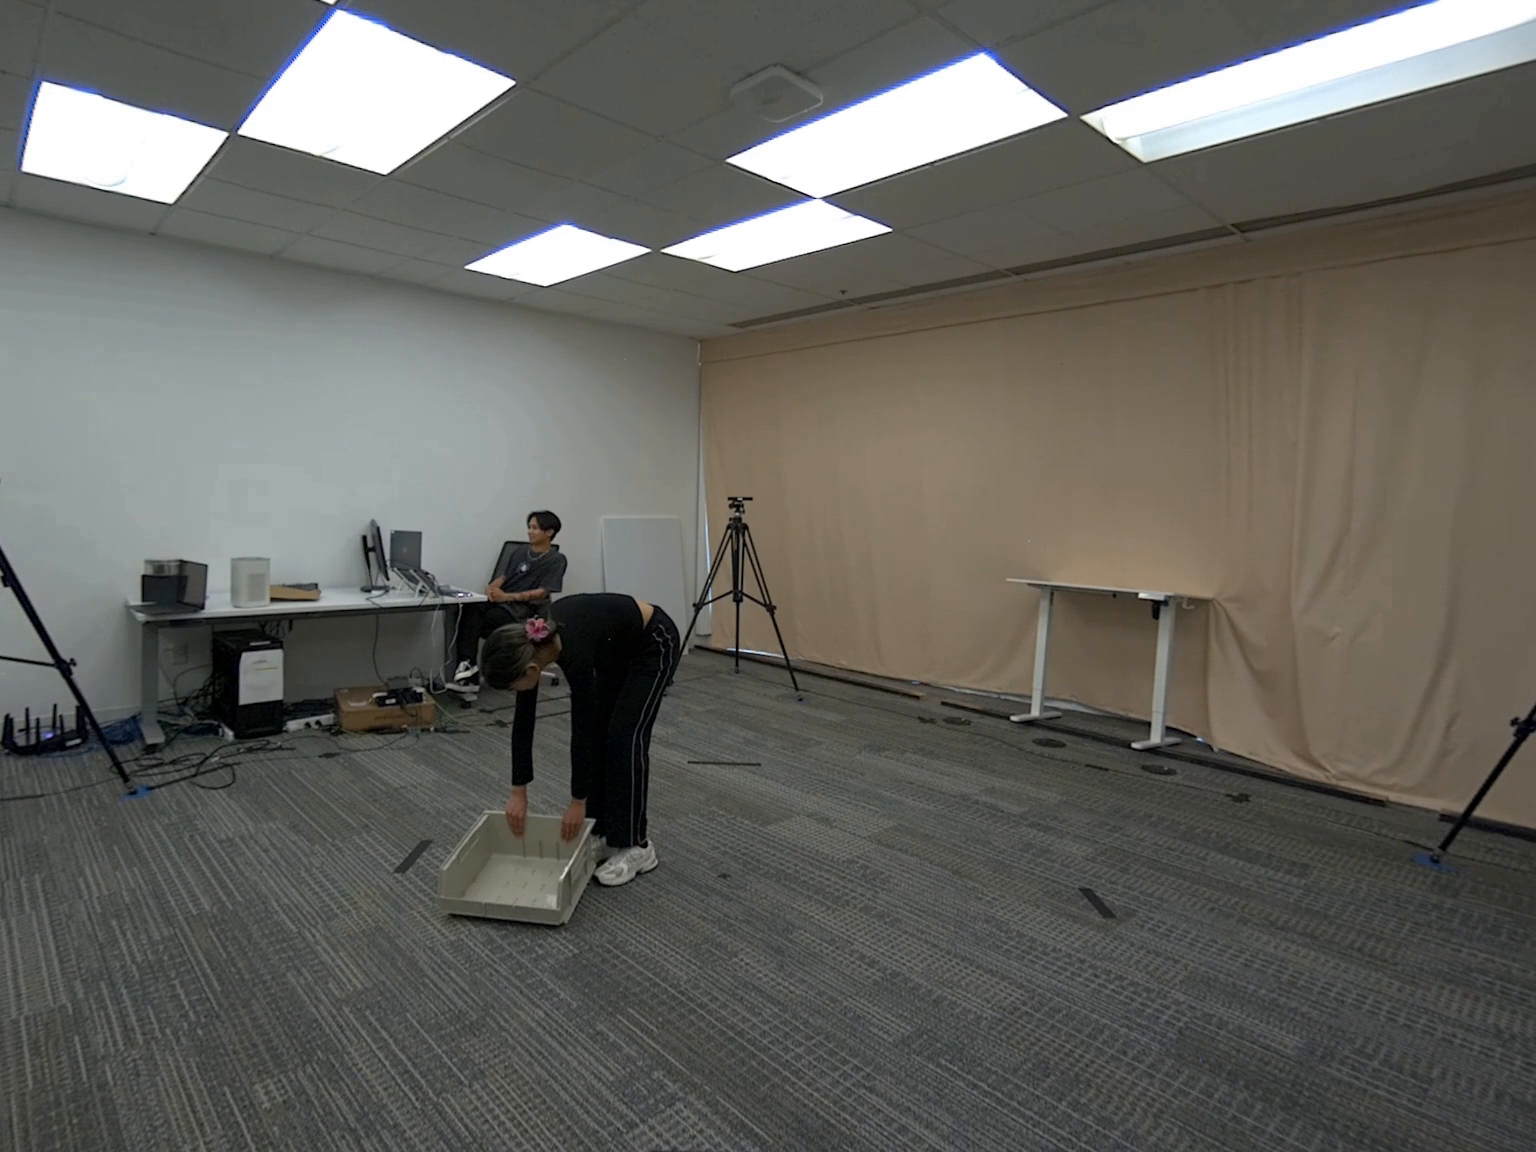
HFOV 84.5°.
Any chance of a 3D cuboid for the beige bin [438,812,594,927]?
[{"bbox_3d":[-0.850,1.011,2.868,0.425,0.187,0.379,0,17,7],"label":"beige bin"}]
